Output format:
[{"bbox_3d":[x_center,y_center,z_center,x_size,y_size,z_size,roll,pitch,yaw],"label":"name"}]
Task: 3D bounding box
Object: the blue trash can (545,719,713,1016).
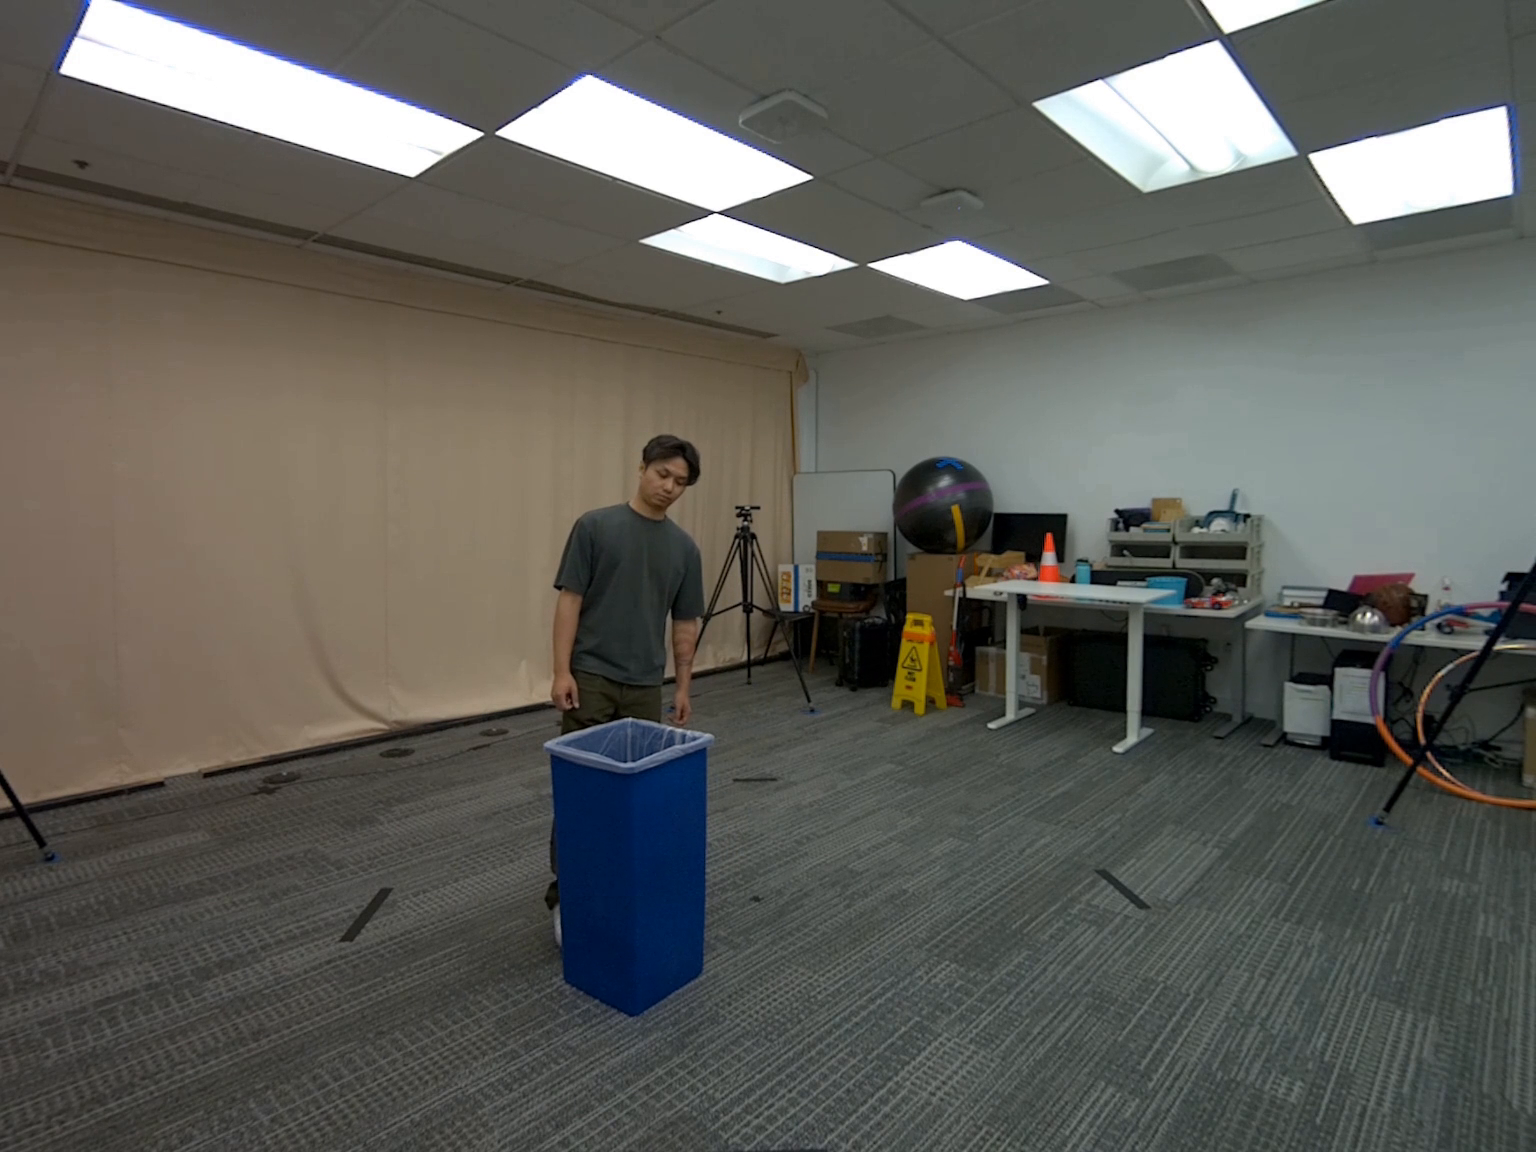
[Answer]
[{"bbox_3d":[-0.390,0.833,2.473,0.386,0.712,0.367,1,4,37],"label":"blue trash can"}]
